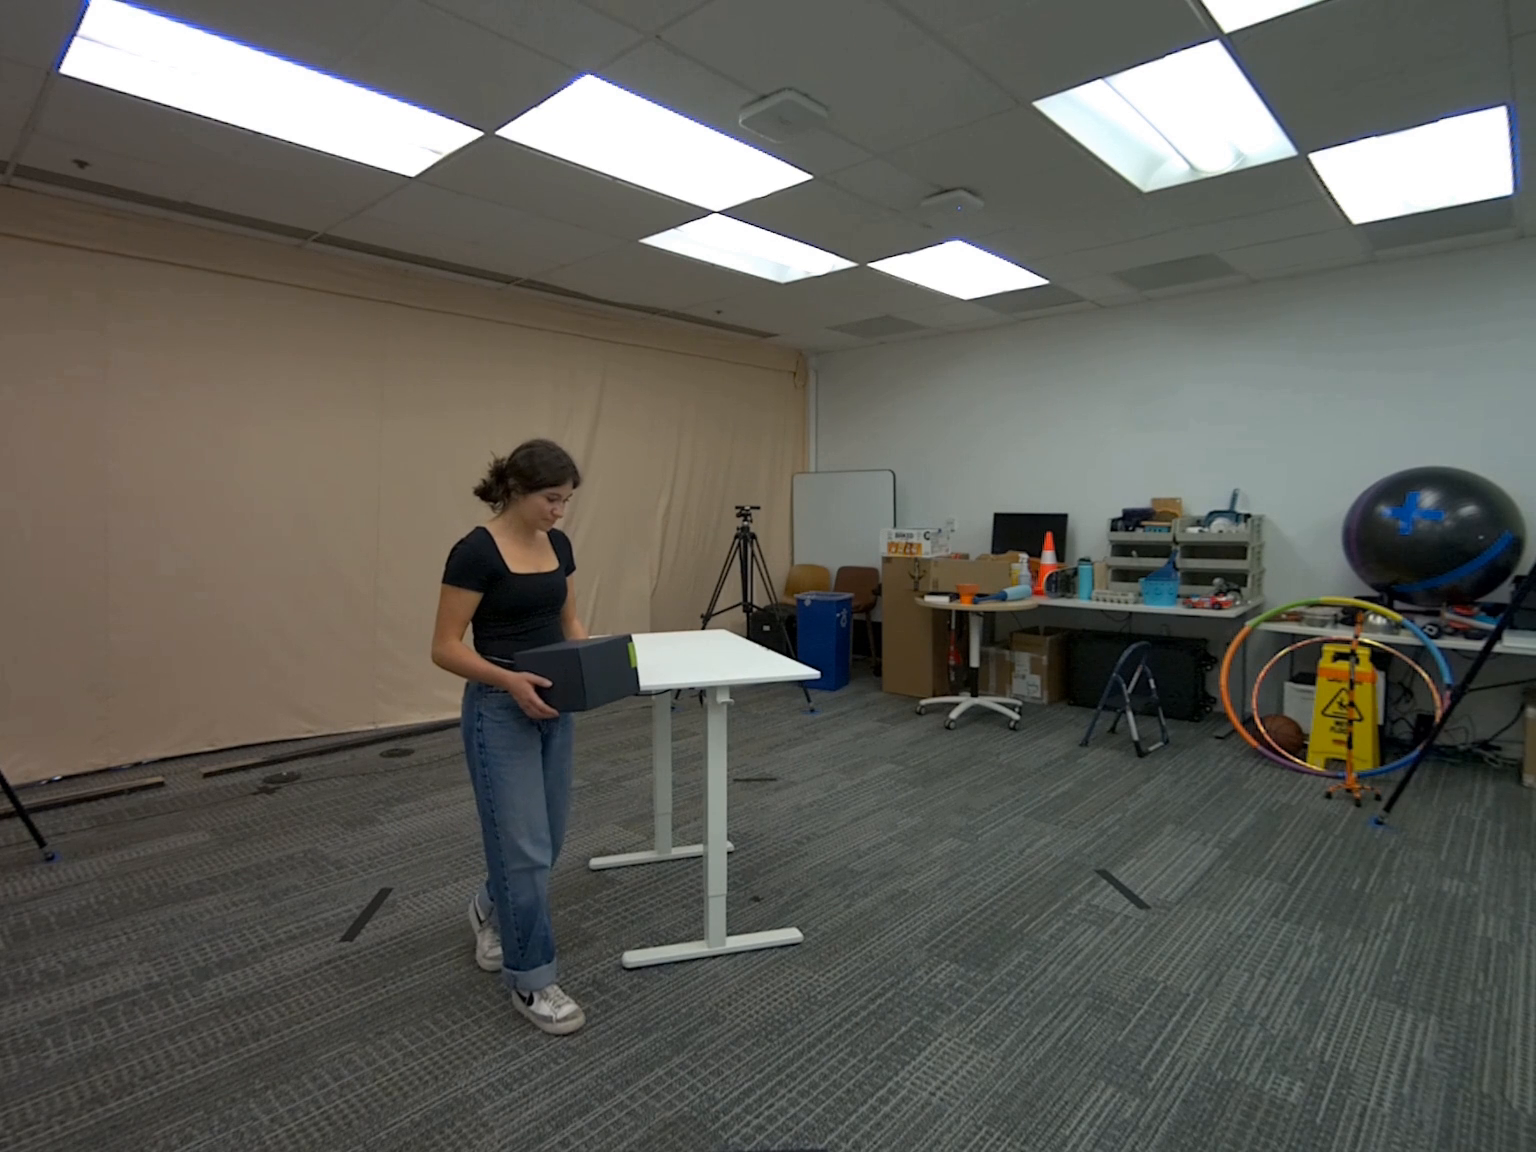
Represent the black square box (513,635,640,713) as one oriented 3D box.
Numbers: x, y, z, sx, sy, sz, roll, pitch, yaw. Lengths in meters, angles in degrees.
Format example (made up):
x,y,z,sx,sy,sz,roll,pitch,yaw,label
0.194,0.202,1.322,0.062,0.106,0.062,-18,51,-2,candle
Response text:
x,y,z,sx,sy,sz,roll,pitch,yaw,label
-0.489,0.249,2.157,0.233,0.156,0.211,-8,0,29,black square box
